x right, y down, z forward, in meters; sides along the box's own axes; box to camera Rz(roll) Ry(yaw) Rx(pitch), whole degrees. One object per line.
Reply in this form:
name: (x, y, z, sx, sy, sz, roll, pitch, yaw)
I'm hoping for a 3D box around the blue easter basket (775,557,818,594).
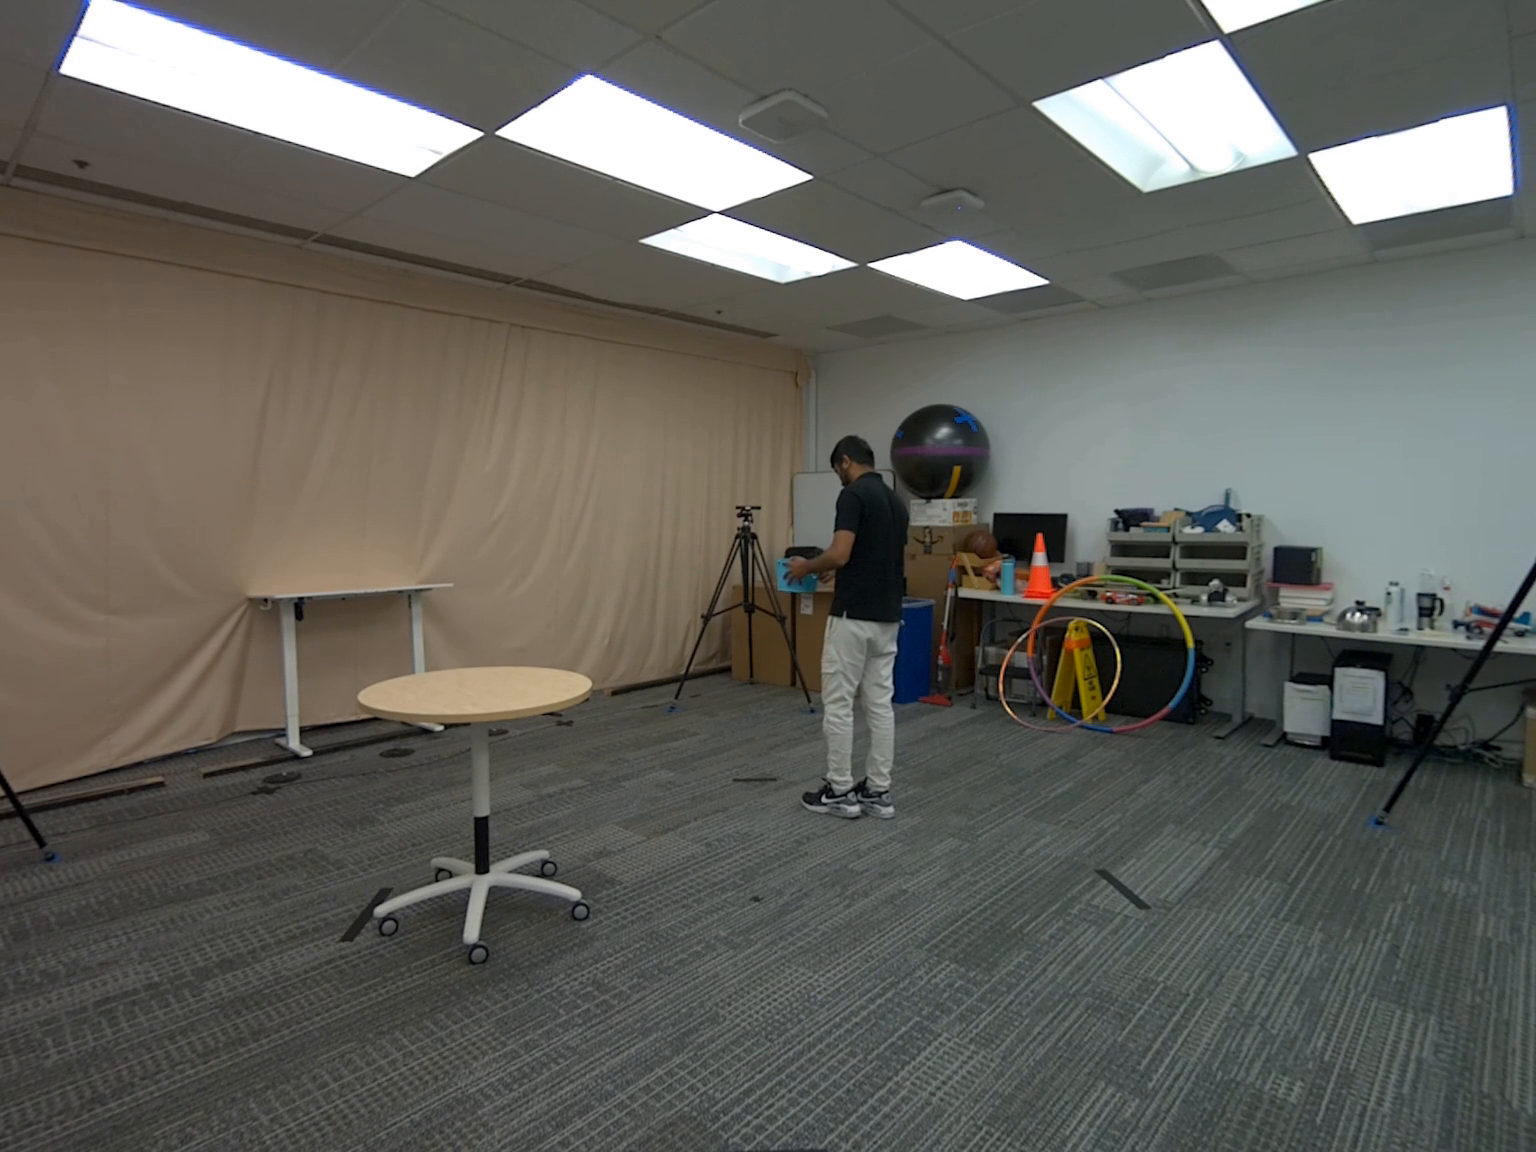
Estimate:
blue easter basket: (0.145, 0.003, 4.079, 0.243, 0.156, 0.244, 3, 3, -2)
